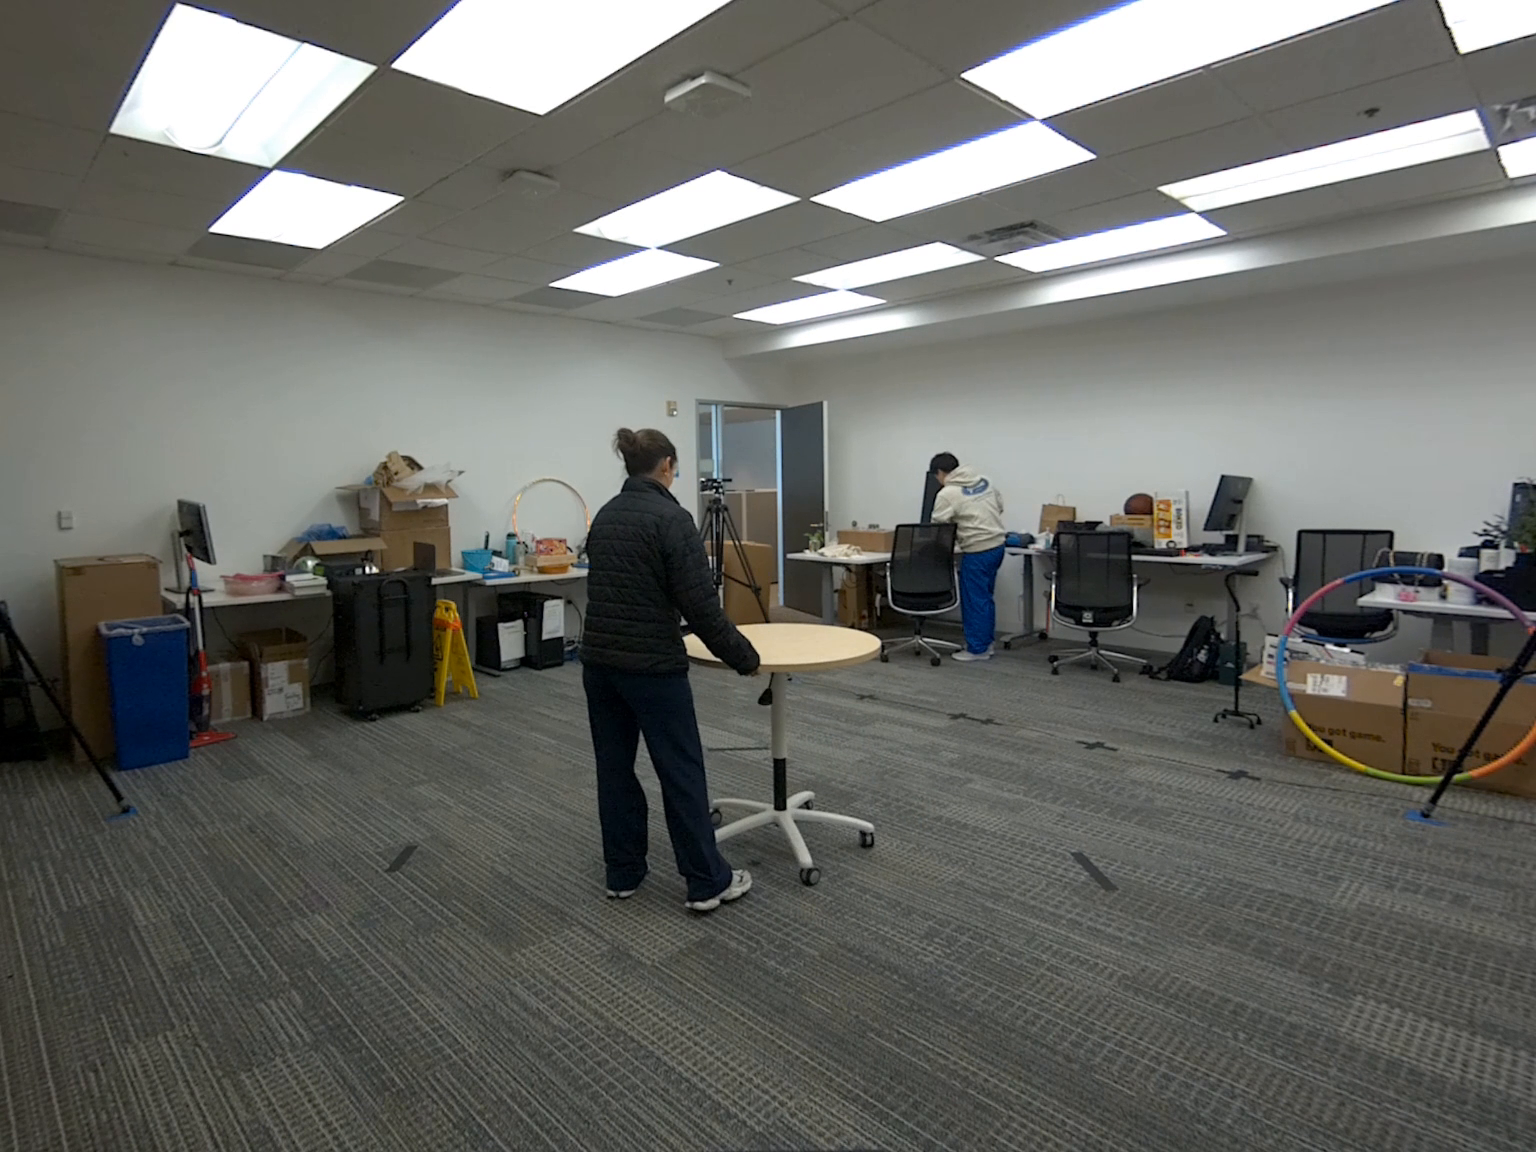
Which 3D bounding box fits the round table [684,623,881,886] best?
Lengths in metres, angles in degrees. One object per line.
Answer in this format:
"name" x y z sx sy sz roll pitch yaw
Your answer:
"round table" 0.027 0.632 3.245 0.784 0.783 0.789 -1 5 -2
